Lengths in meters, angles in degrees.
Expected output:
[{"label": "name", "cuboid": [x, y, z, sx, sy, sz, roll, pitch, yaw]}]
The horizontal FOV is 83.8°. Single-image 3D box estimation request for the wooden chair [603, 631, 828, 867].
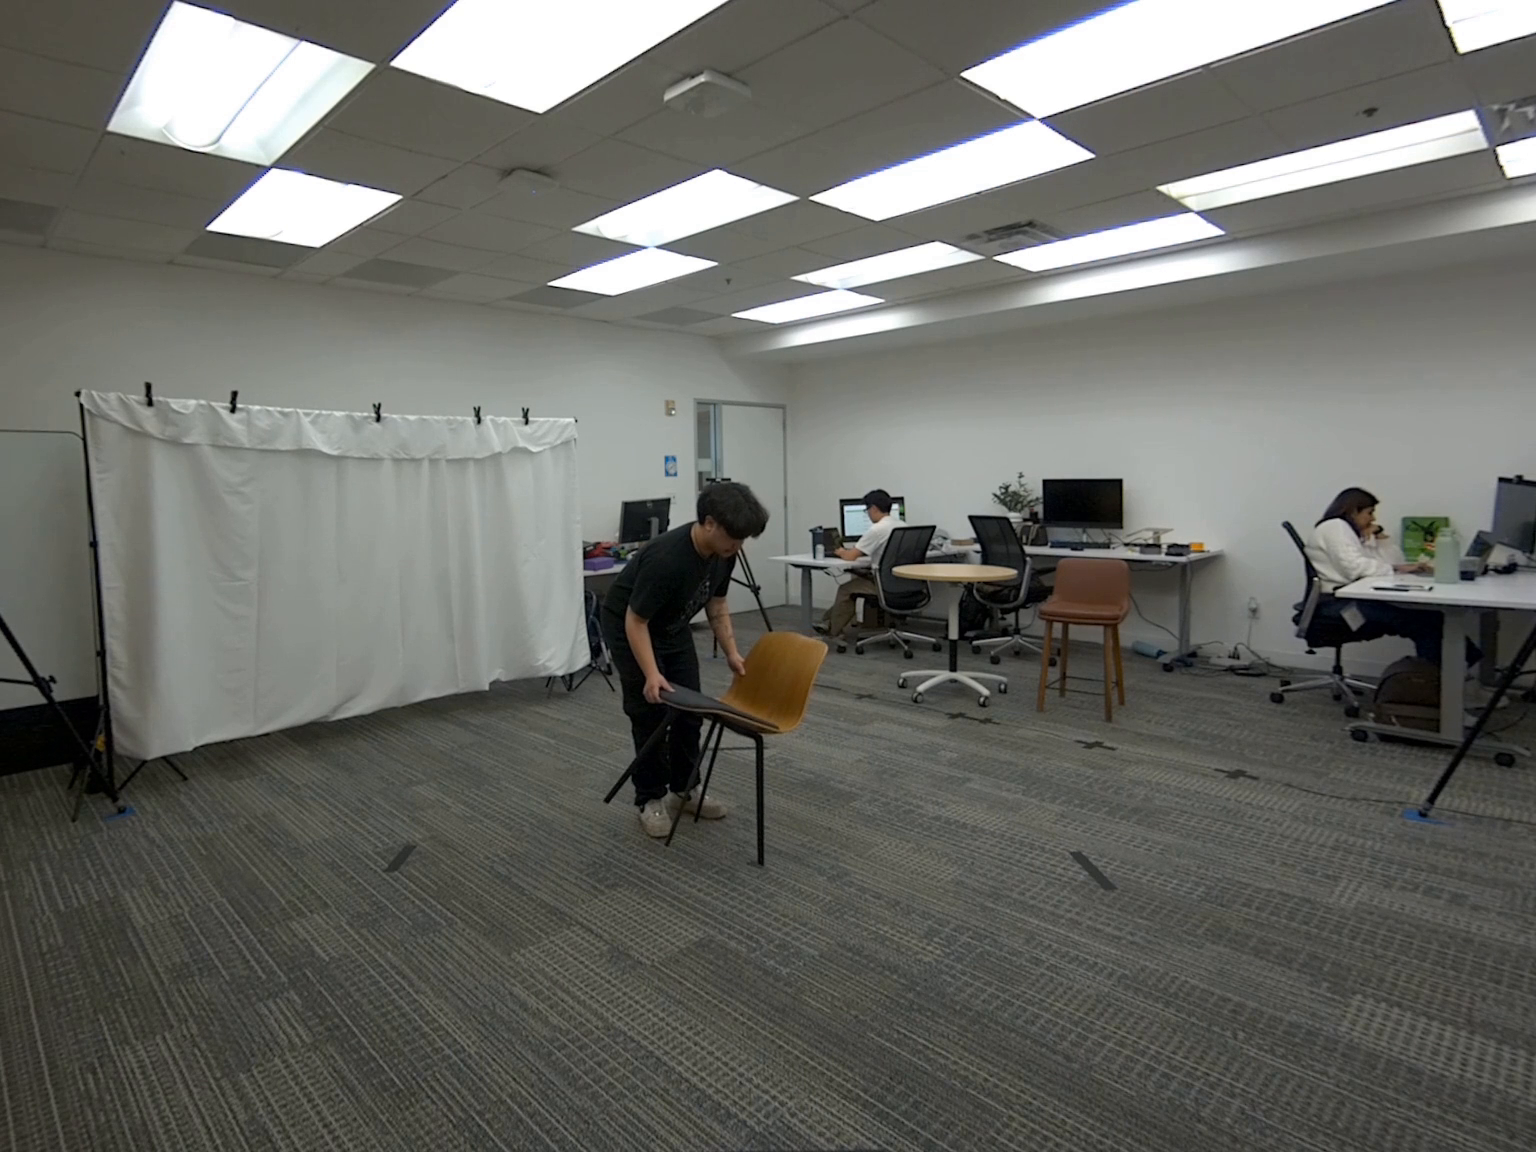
[{"label": "wooden chair", "cuboid": [-0.180, 0.548, 3.167, 0.504, 0.881, 0.493, 30, -12, -36]}]
